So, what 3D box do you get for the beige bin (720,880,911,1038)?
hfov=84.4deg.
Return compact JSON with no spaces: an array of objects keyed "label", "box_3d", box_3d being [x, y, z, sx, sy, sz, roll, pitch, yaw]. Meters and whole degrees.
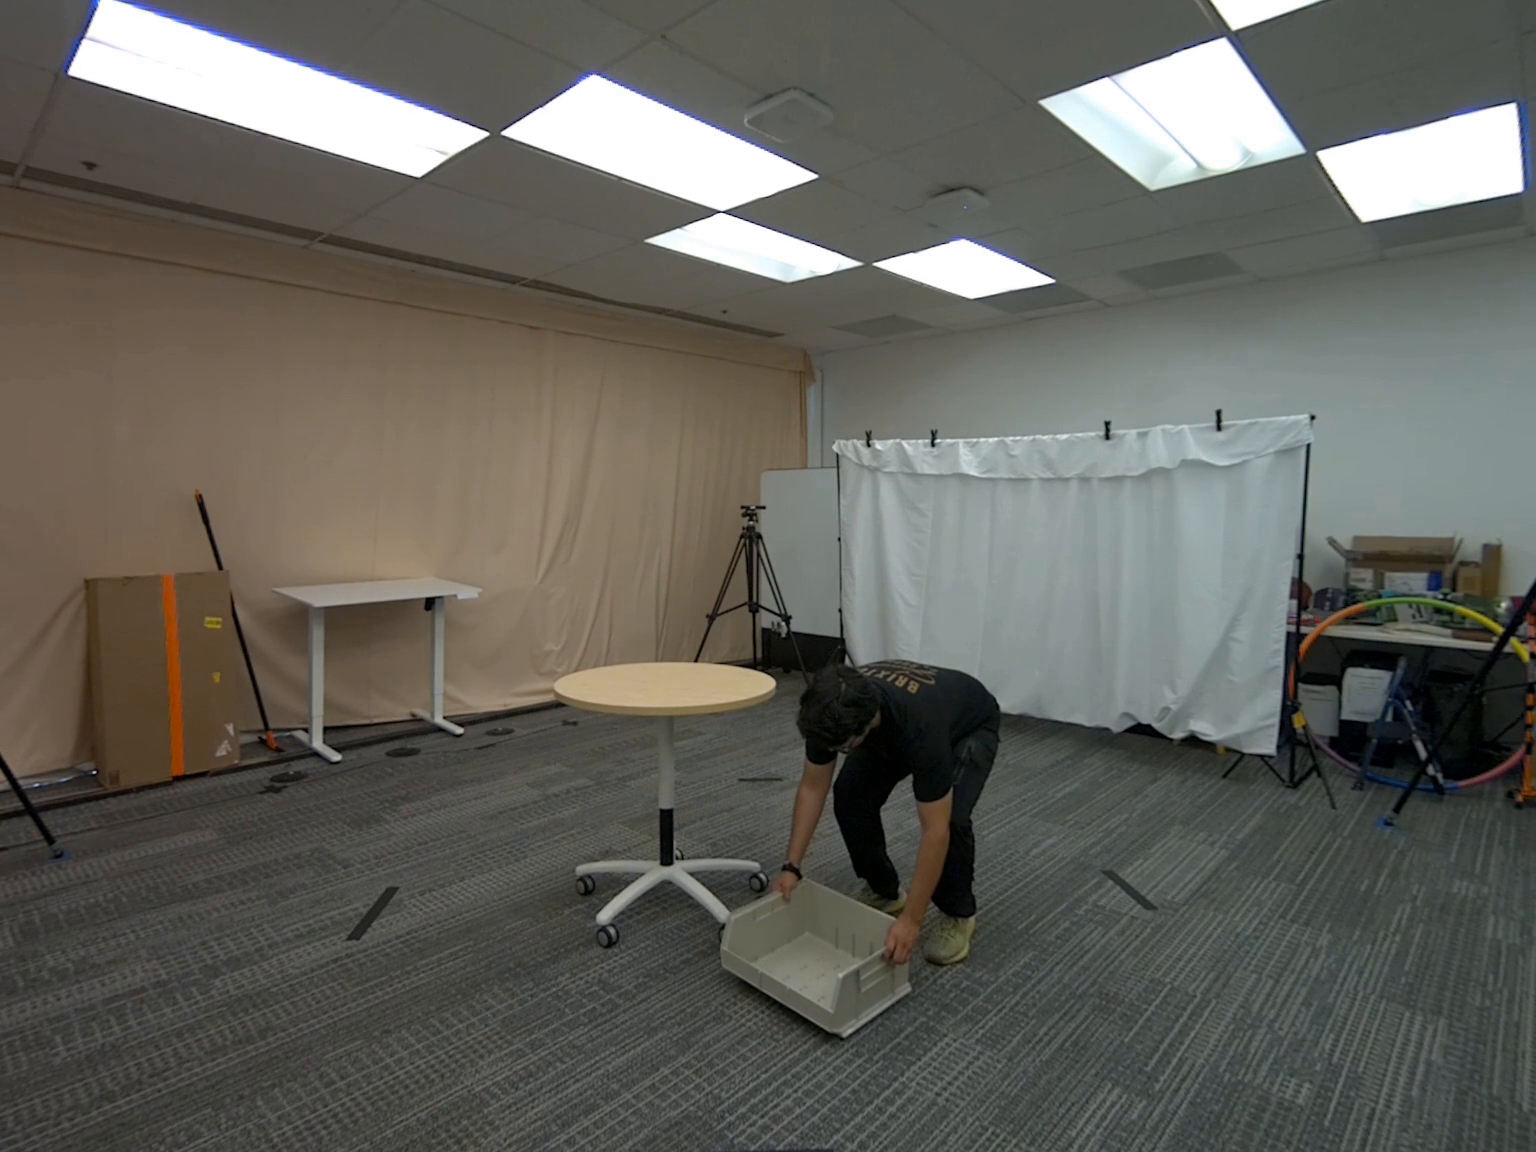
[{"label":"beige bin","box_3d":[0.142,1.078,2.422,0.436,0.188,0.366,5,6,44]}]
